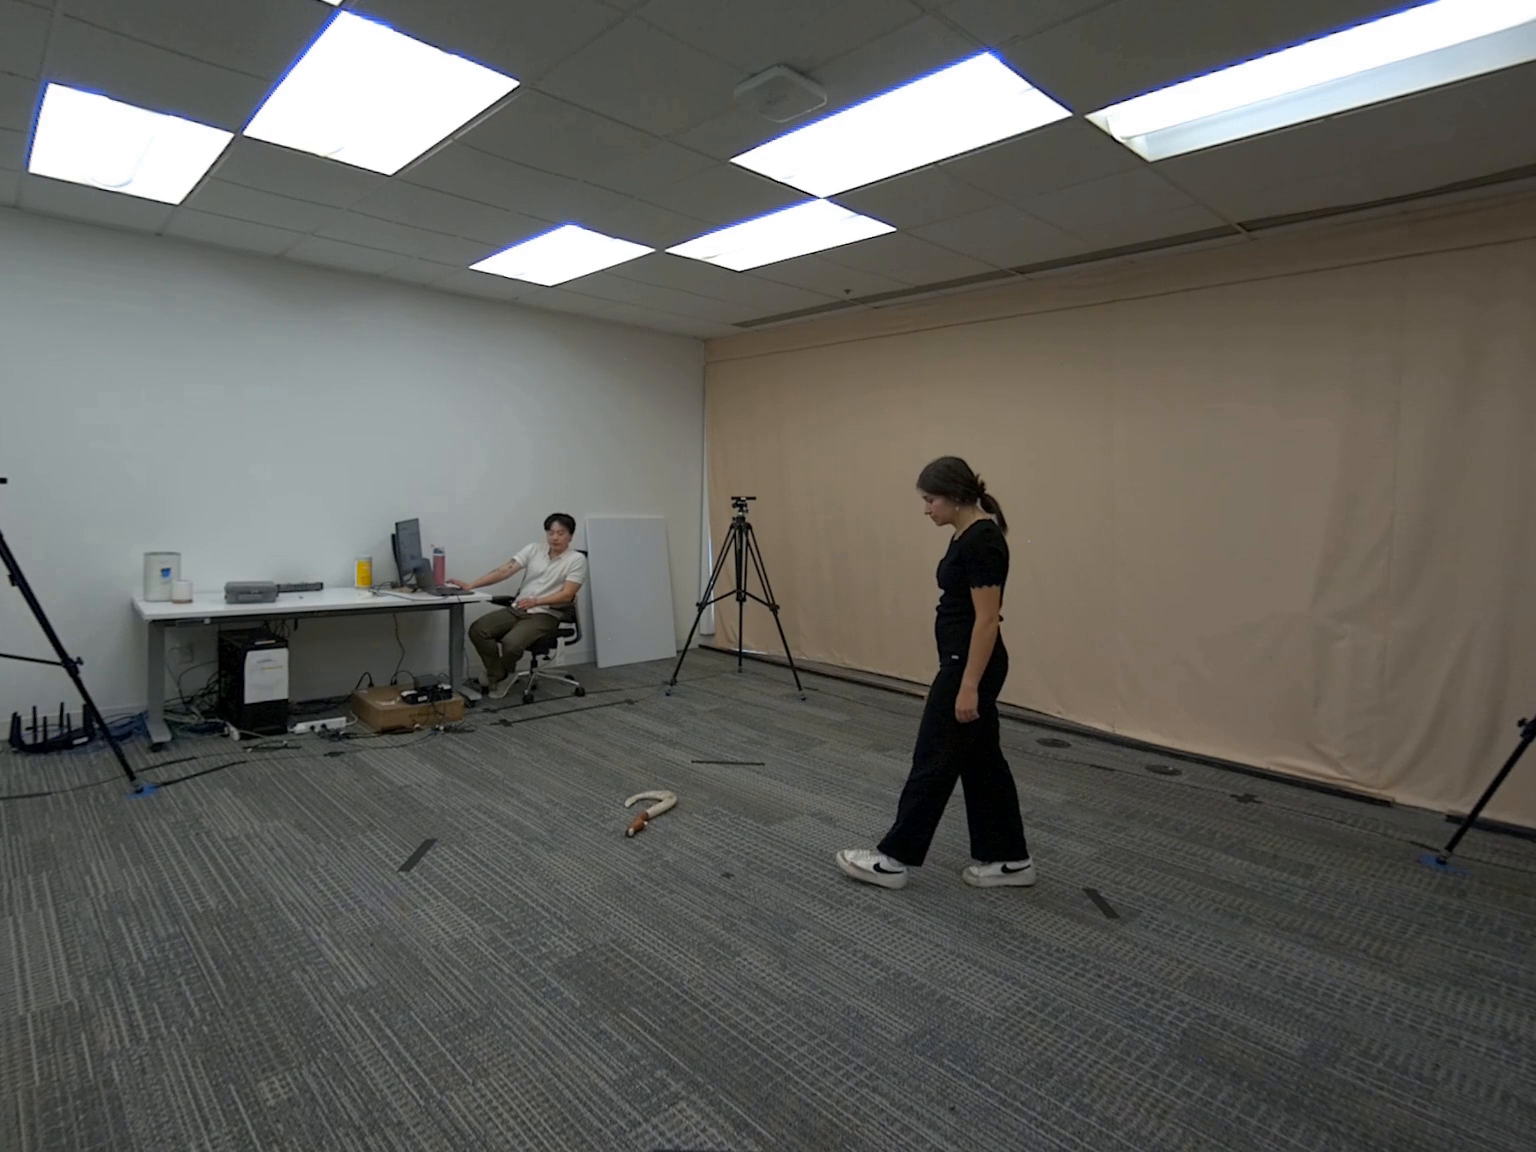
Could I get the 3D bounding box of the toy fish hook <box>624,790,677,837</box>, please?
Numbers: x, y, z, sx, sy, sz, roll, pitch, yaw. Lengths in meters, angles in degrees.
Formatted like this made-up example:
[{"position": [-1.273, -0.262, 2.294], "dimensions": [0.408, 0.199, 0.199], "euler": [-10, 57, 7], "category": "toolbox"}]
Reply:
[{"position": [-0.568, 1.029, 3.672], "dimensions": [0.227, 0.048, 0.501], "euler": [-5, 2, 15], "category": "toy fish hook"}]
